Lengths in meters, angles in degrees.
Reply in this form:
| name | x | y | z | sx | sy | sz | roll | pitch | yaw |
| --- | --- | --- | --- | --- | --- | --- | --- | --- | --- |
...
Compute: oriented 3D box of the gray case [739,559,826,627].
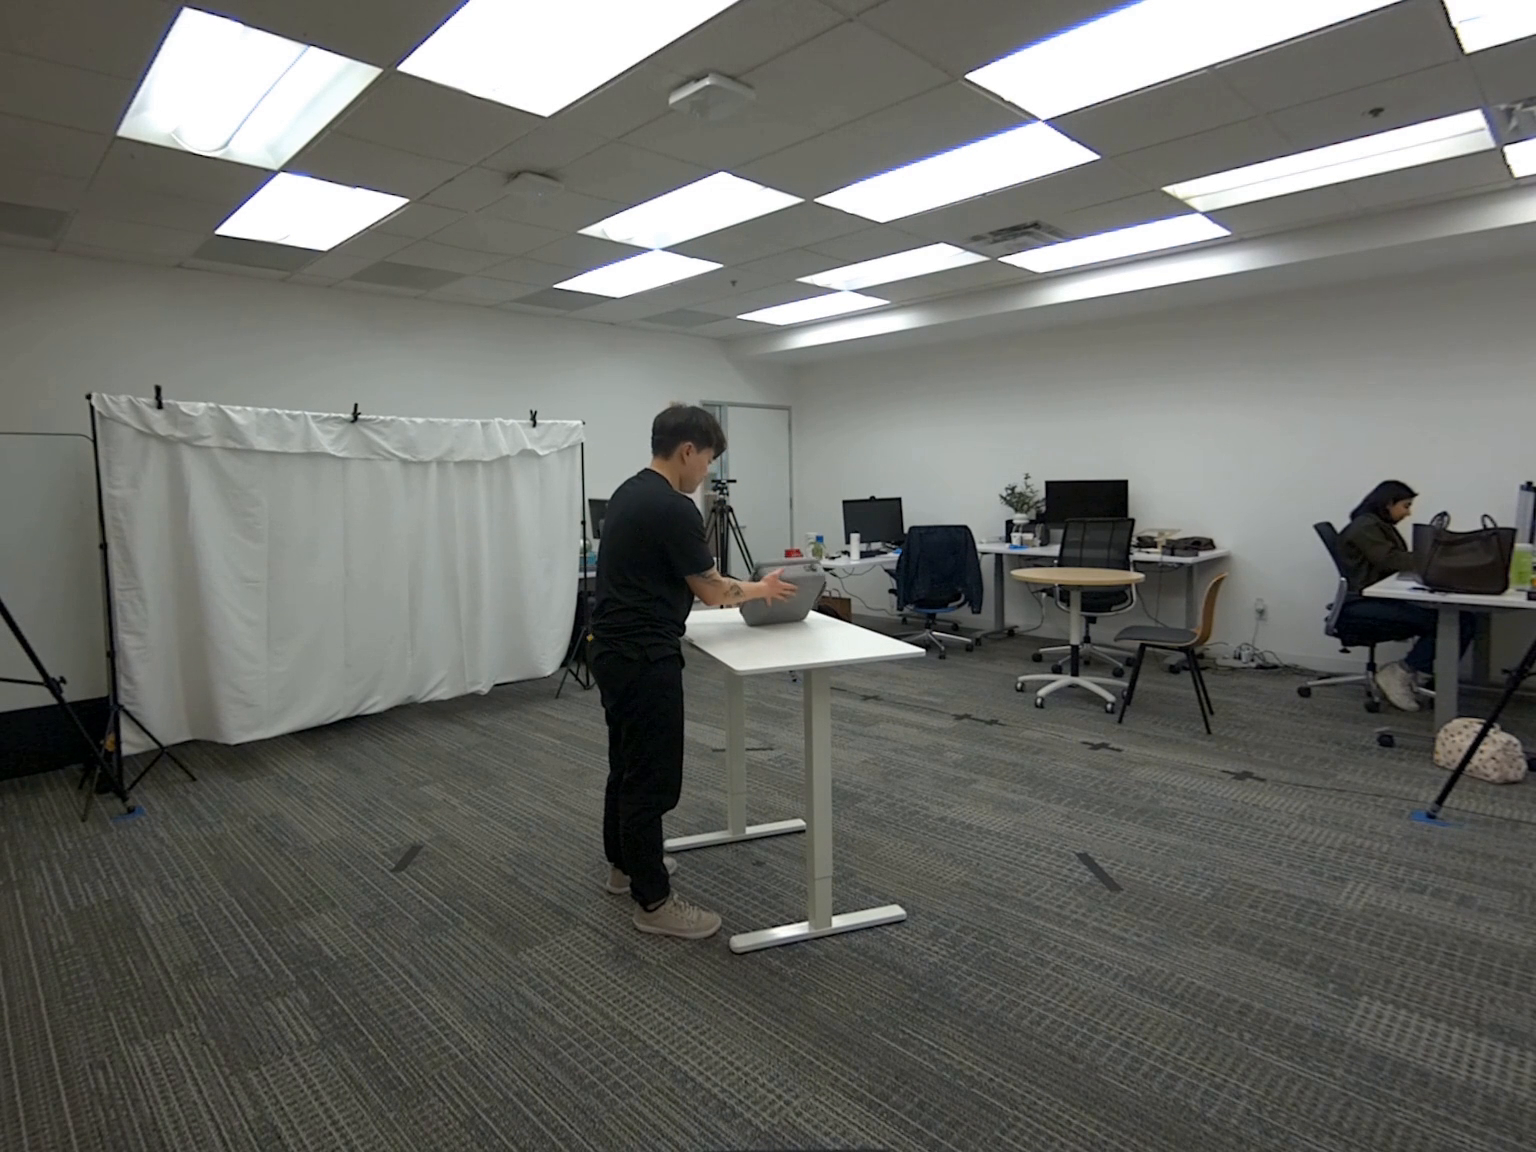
| name | x | y | z | sx | sy | sz | roll | pitch | yaw |
| --- | --- | --- | --- | --- | --- | --- | --- | --- | --- |
| gray case | 0.052 | 0.057 | 2.996 | 0.255 | 0.252 | 0.108 | -2 | 42 | -23 |
